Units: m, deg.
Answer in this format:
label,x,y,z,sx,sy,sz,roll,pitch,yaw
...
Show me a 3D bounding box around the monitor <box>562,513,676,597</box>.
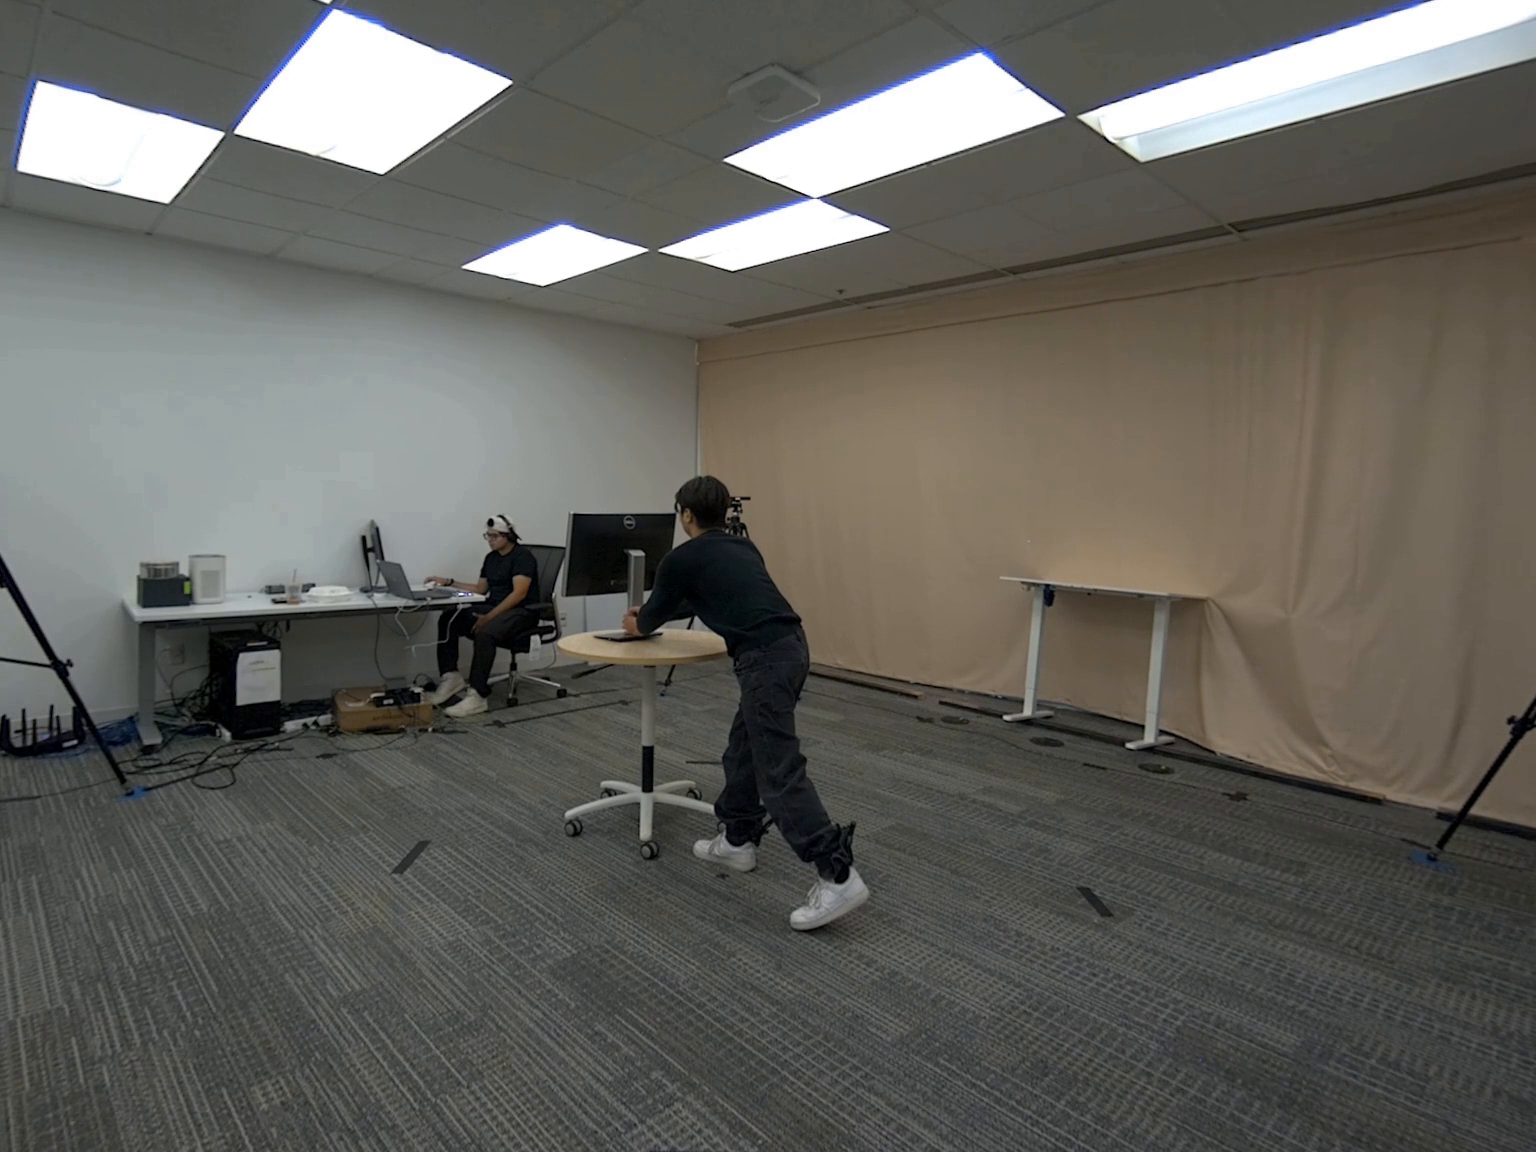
label,x,y,z,sx,sy,sz,roll,pitch,yaw
monitor,-0.622,-0.005,3.653,0.191,0.522,0.527,0,2,42
